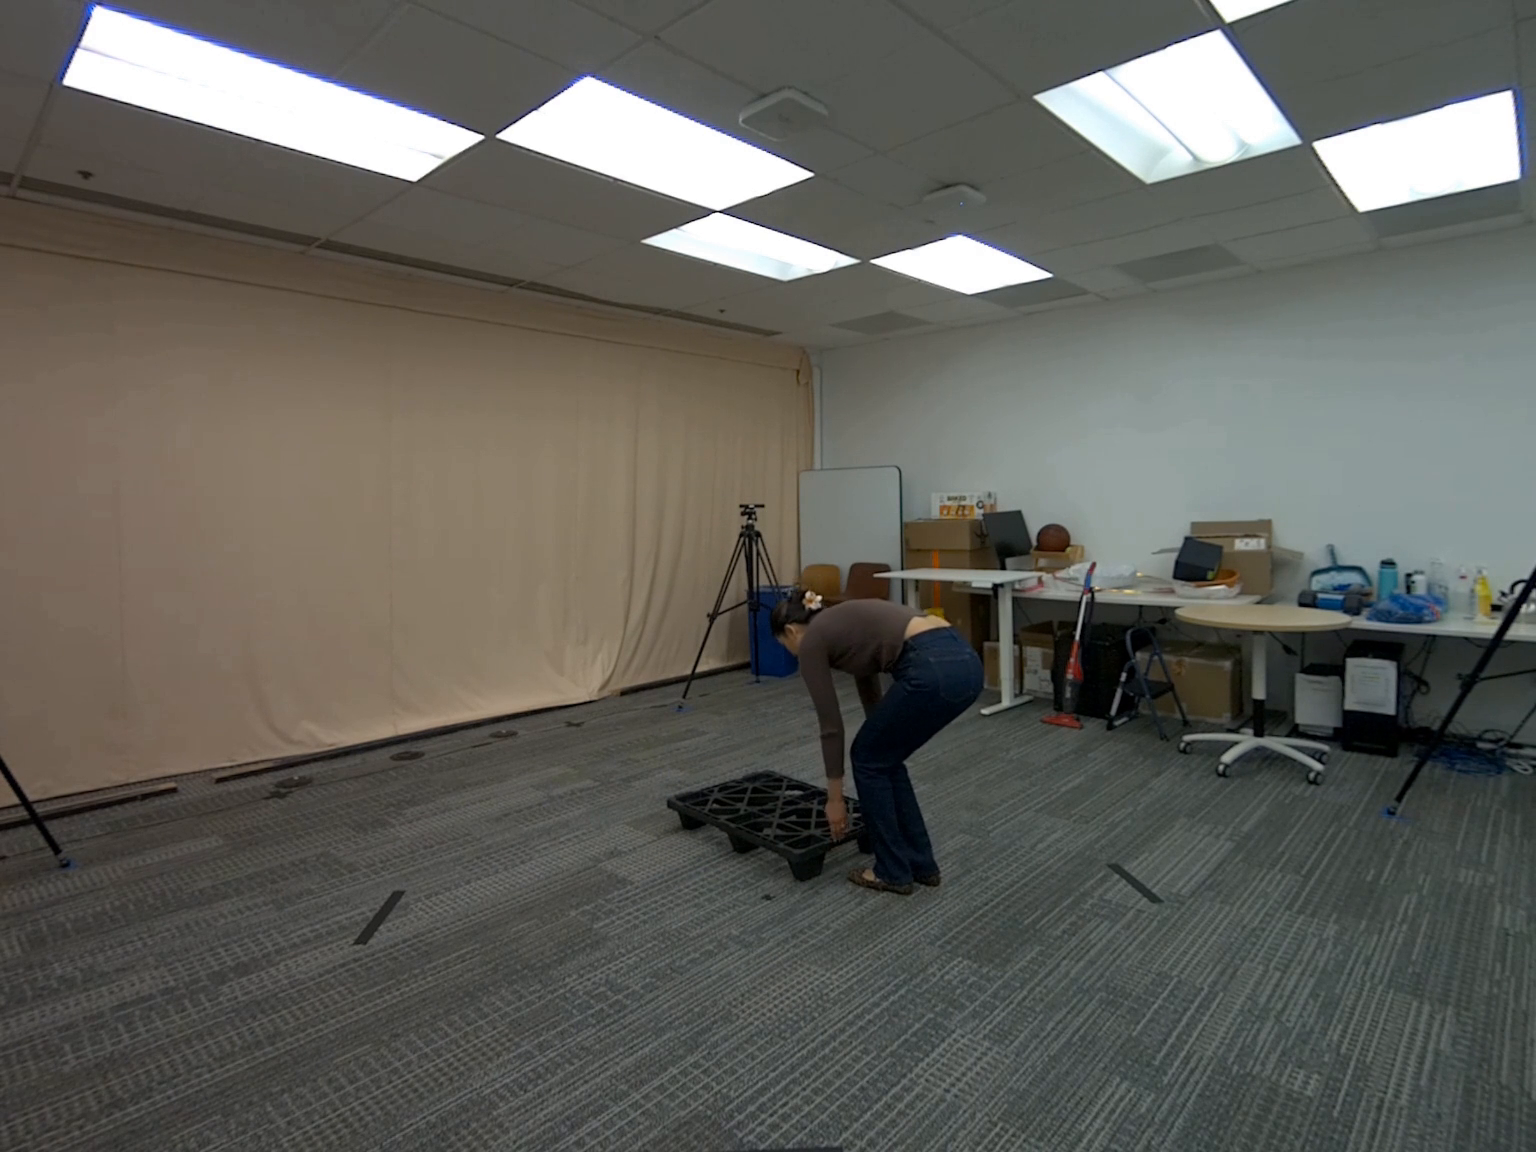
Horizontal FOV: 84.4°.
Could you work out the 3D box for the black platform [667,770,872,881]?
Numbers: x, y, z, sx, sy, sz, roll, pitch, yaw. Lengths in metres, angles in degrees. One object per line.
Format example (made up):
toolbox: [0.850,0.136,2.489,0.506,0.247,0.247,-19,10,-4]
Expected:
black platform: [0.050,1.027,3.511,0.587,0.143,0.832,-6,6,-42]
